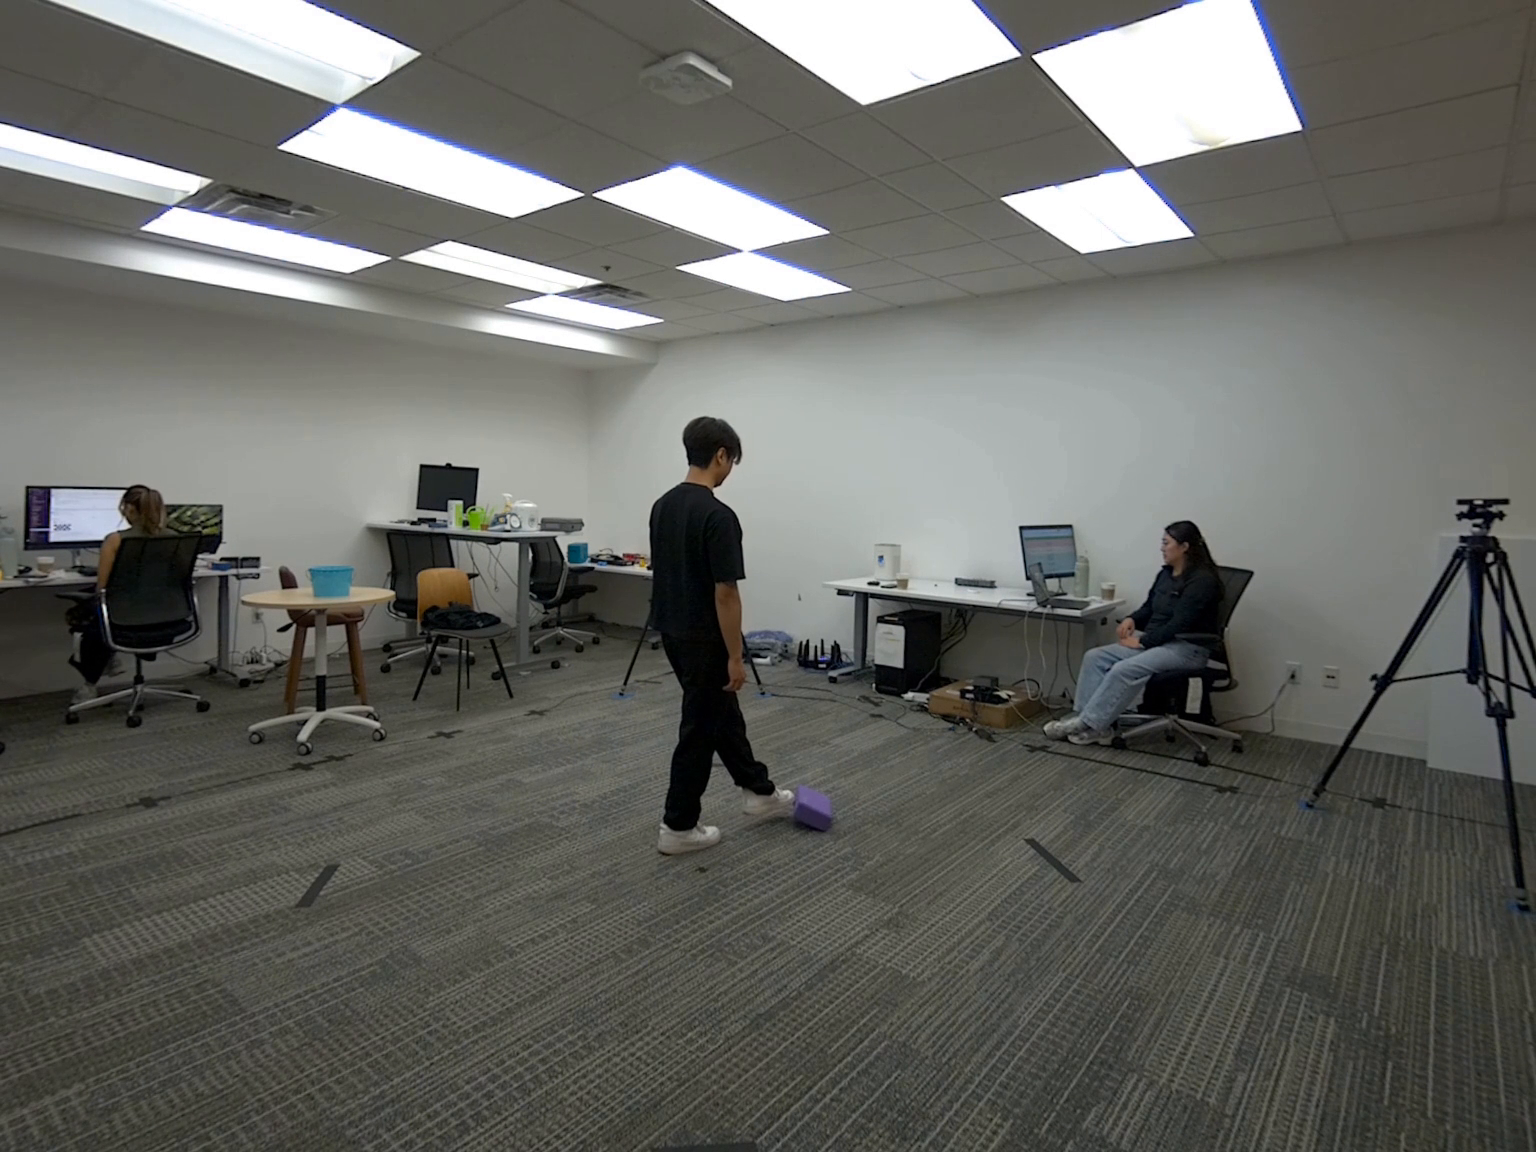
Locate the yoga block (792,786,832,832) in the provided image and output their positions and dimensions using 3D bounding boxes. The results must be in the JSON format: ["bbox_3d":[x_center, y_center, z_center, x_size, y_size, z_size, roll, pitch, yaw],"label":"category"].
[{"bbox_3d":[0.175,0.972,3.589,0.150,0.076,0.229,21,6,3],"label":"yoga block"}]
